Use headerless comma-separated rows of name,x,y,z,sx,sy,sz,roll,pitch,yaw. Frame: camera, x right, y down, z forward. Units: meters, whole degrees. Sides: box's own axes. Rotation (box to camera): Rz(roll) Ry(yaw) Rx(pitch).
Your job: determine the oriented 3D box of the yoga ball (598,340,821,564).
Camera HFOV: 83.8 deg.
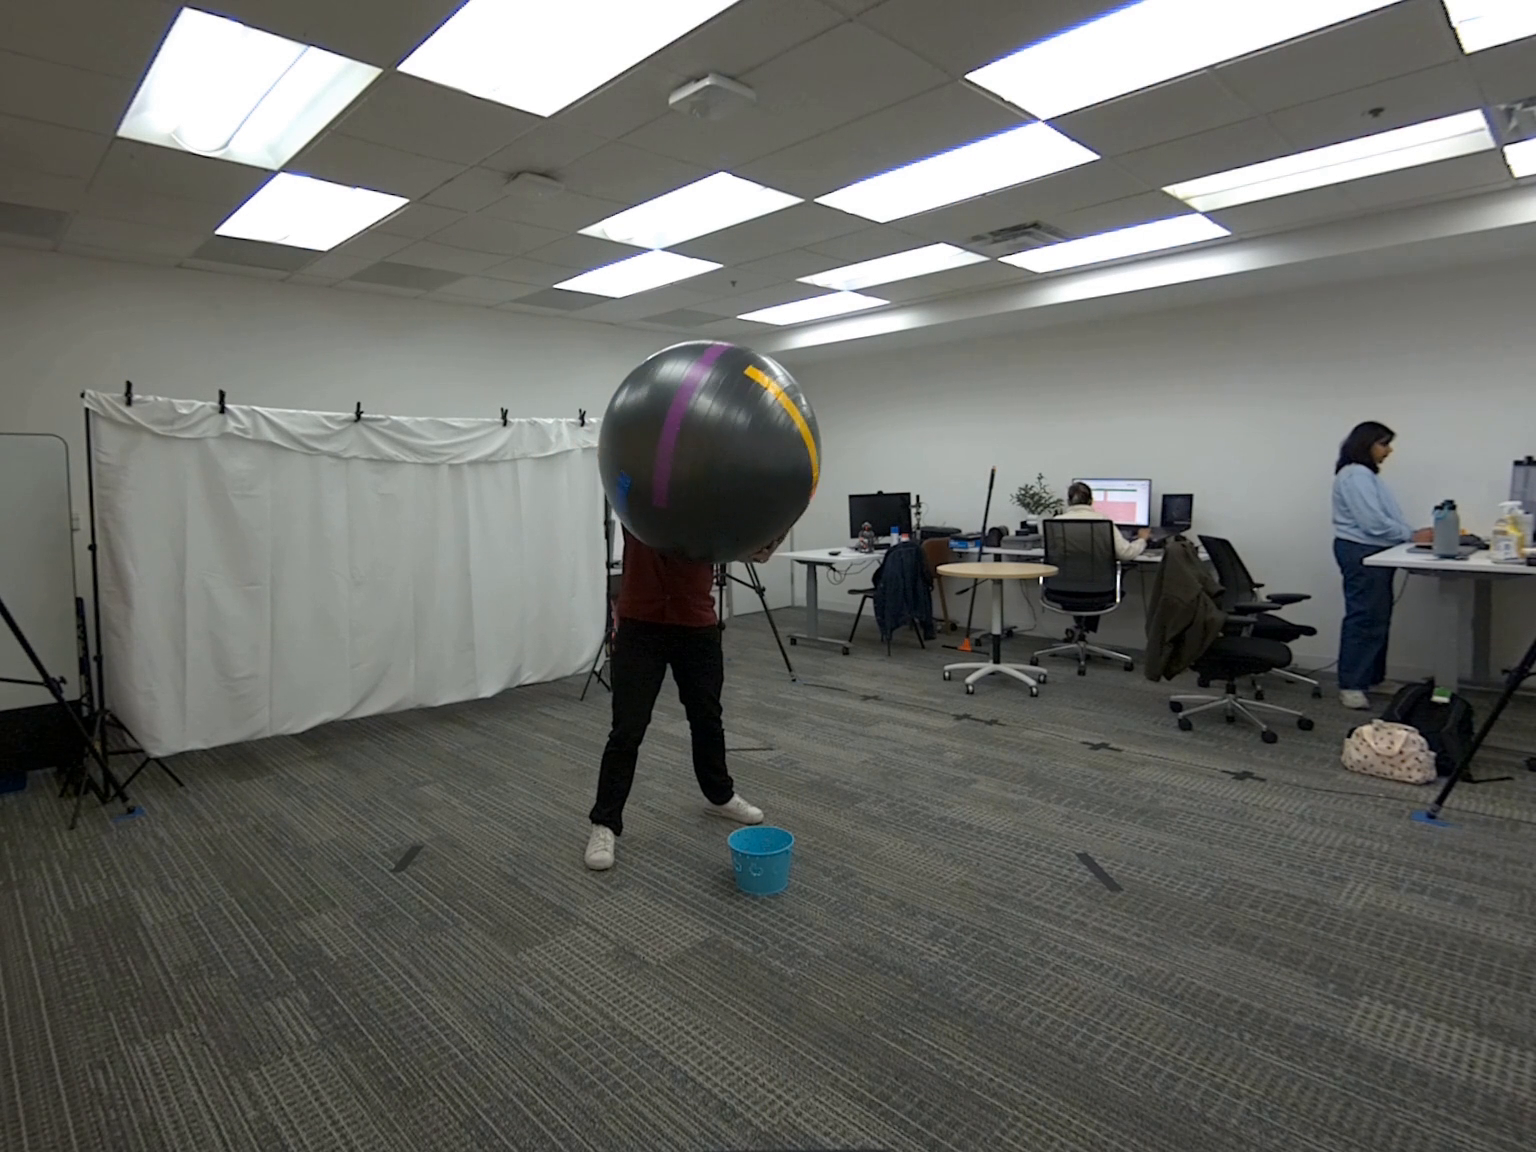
yoga ball,-0.211,-0.414,2.921,0.757,0.755,0.762,-1,5,-2
